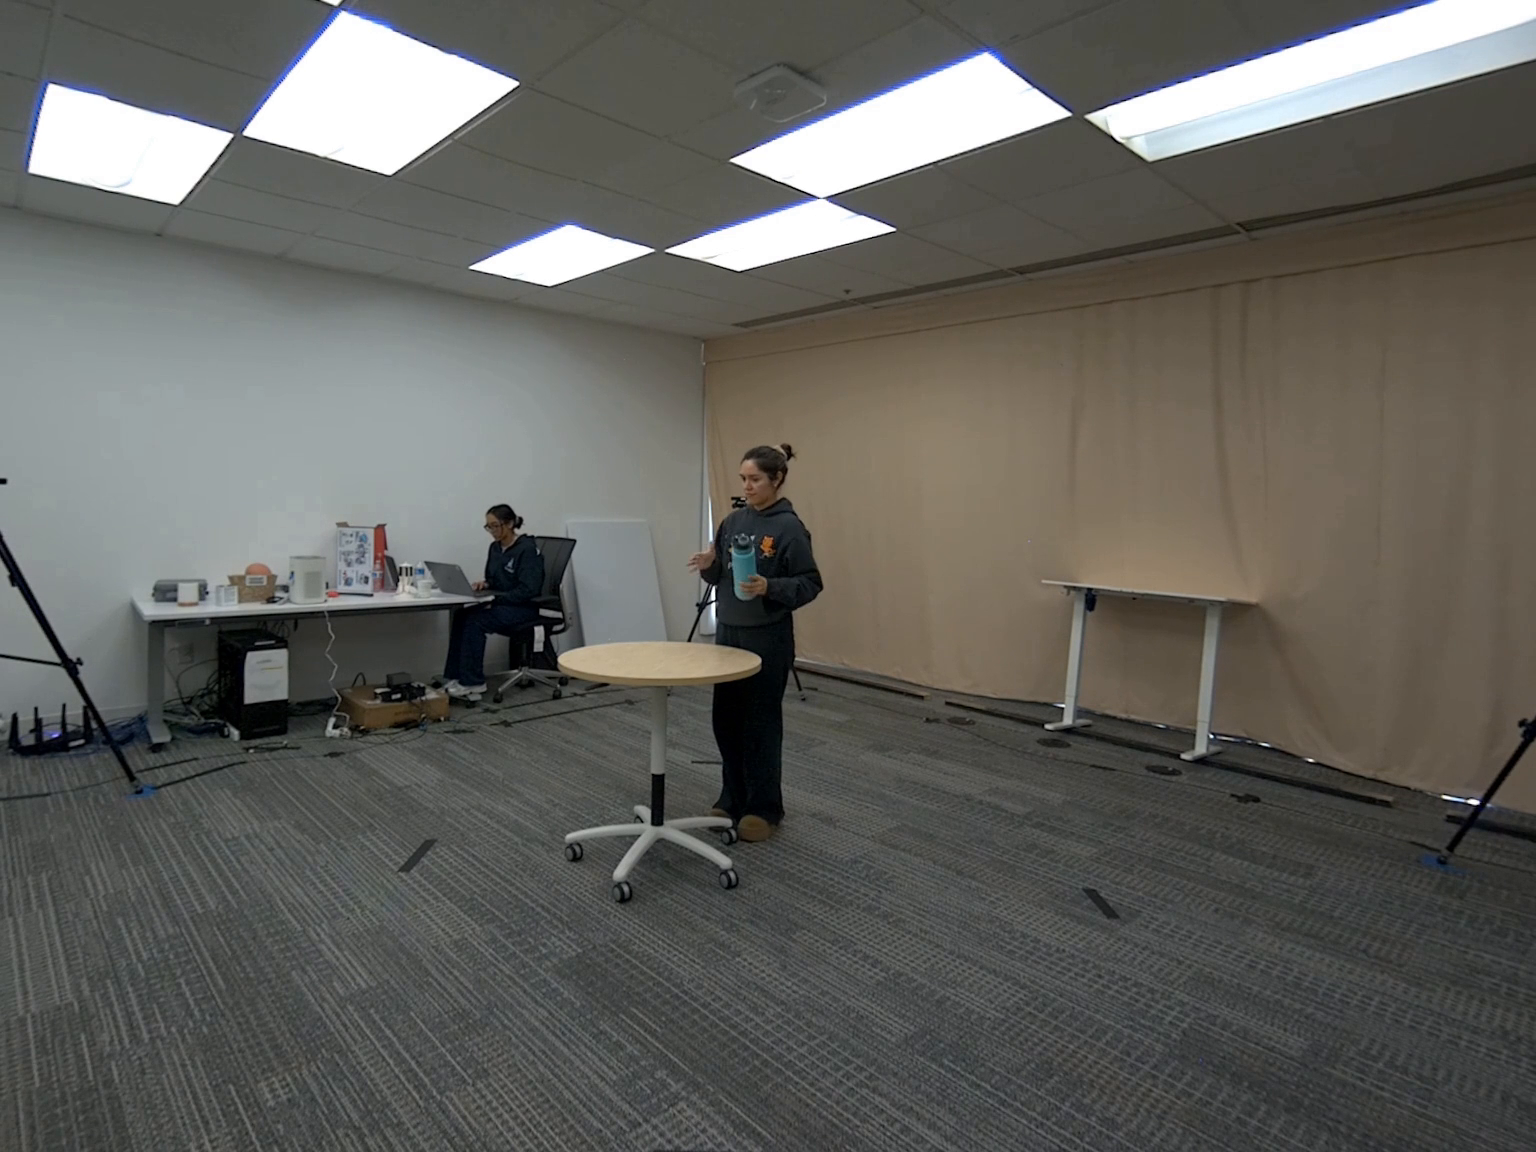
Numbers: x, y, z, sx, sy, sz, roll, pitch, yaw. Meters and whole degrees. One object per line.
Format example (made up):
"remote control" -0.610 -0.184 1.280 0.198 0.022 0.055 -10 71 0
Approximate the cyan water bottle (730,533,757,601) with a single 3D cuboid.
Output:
"cyan water bottle" -0.111 -0.054 3.264 0.092 0.277 0.094 -4 38 1
